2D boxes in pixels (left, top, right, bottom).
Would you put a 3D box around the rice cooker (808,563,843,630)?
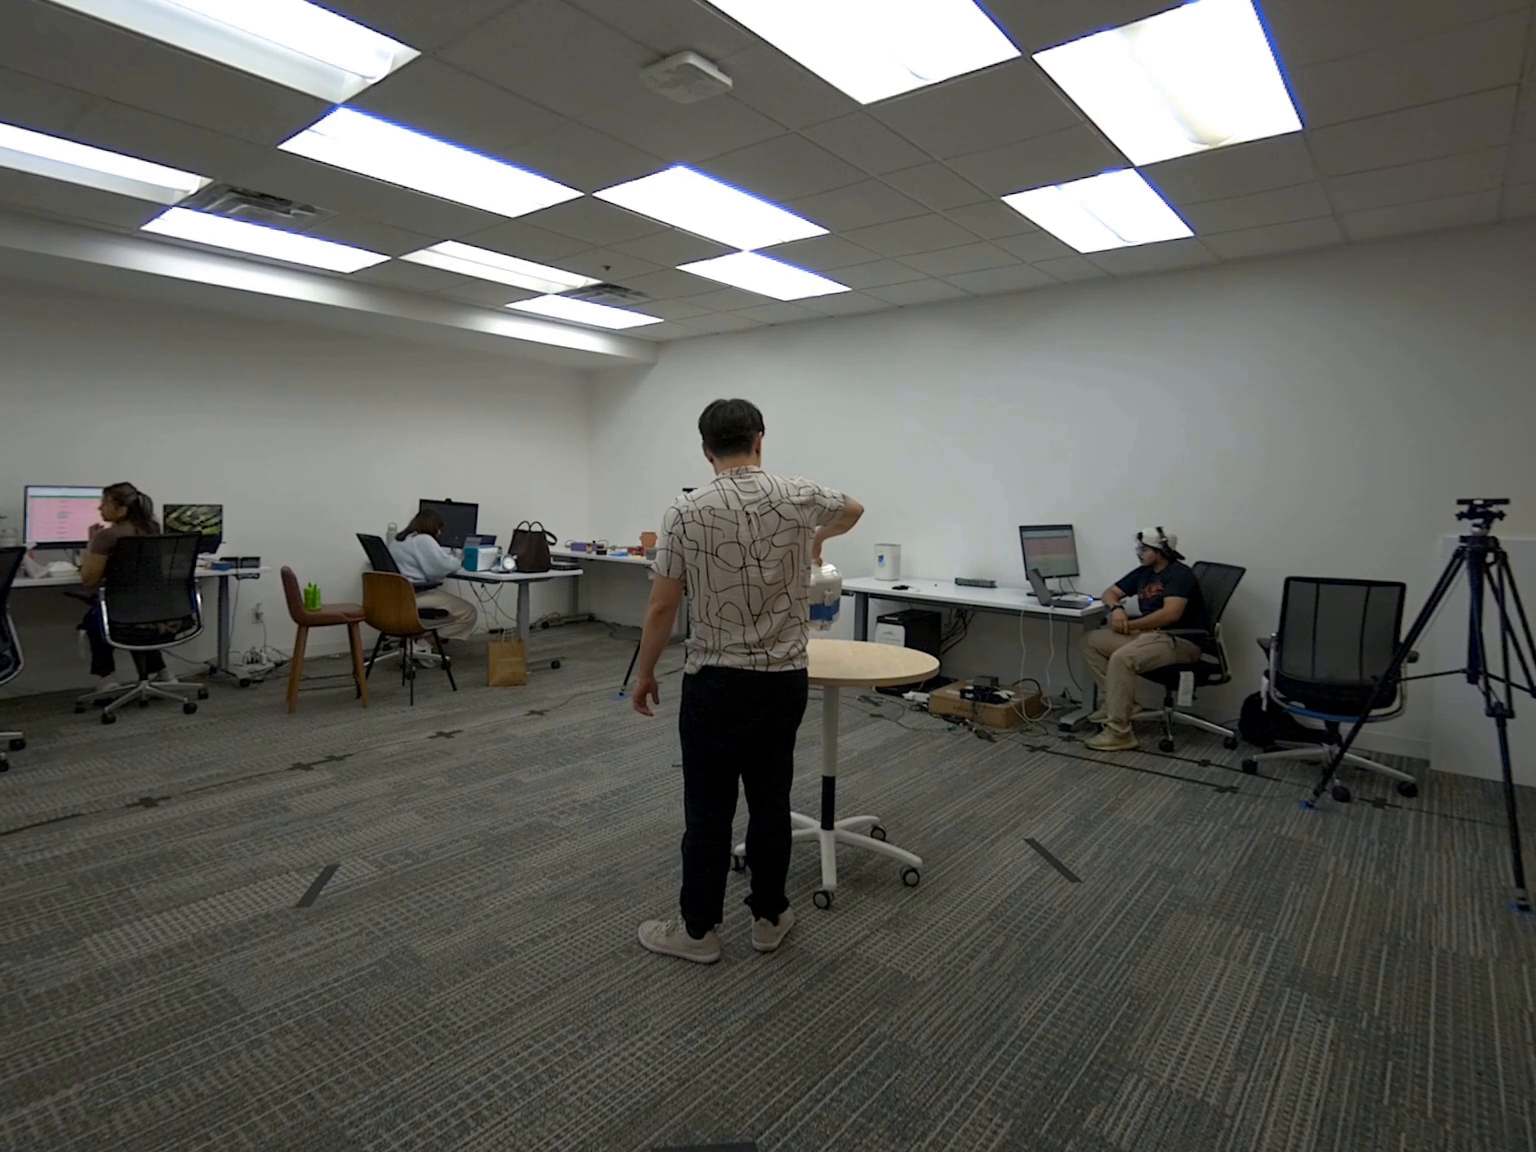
[{"bbox_3d":[0.145,0.052,3.018,0.222,0.229,0.219,9,18,16],"label":"rice cooker"}]
